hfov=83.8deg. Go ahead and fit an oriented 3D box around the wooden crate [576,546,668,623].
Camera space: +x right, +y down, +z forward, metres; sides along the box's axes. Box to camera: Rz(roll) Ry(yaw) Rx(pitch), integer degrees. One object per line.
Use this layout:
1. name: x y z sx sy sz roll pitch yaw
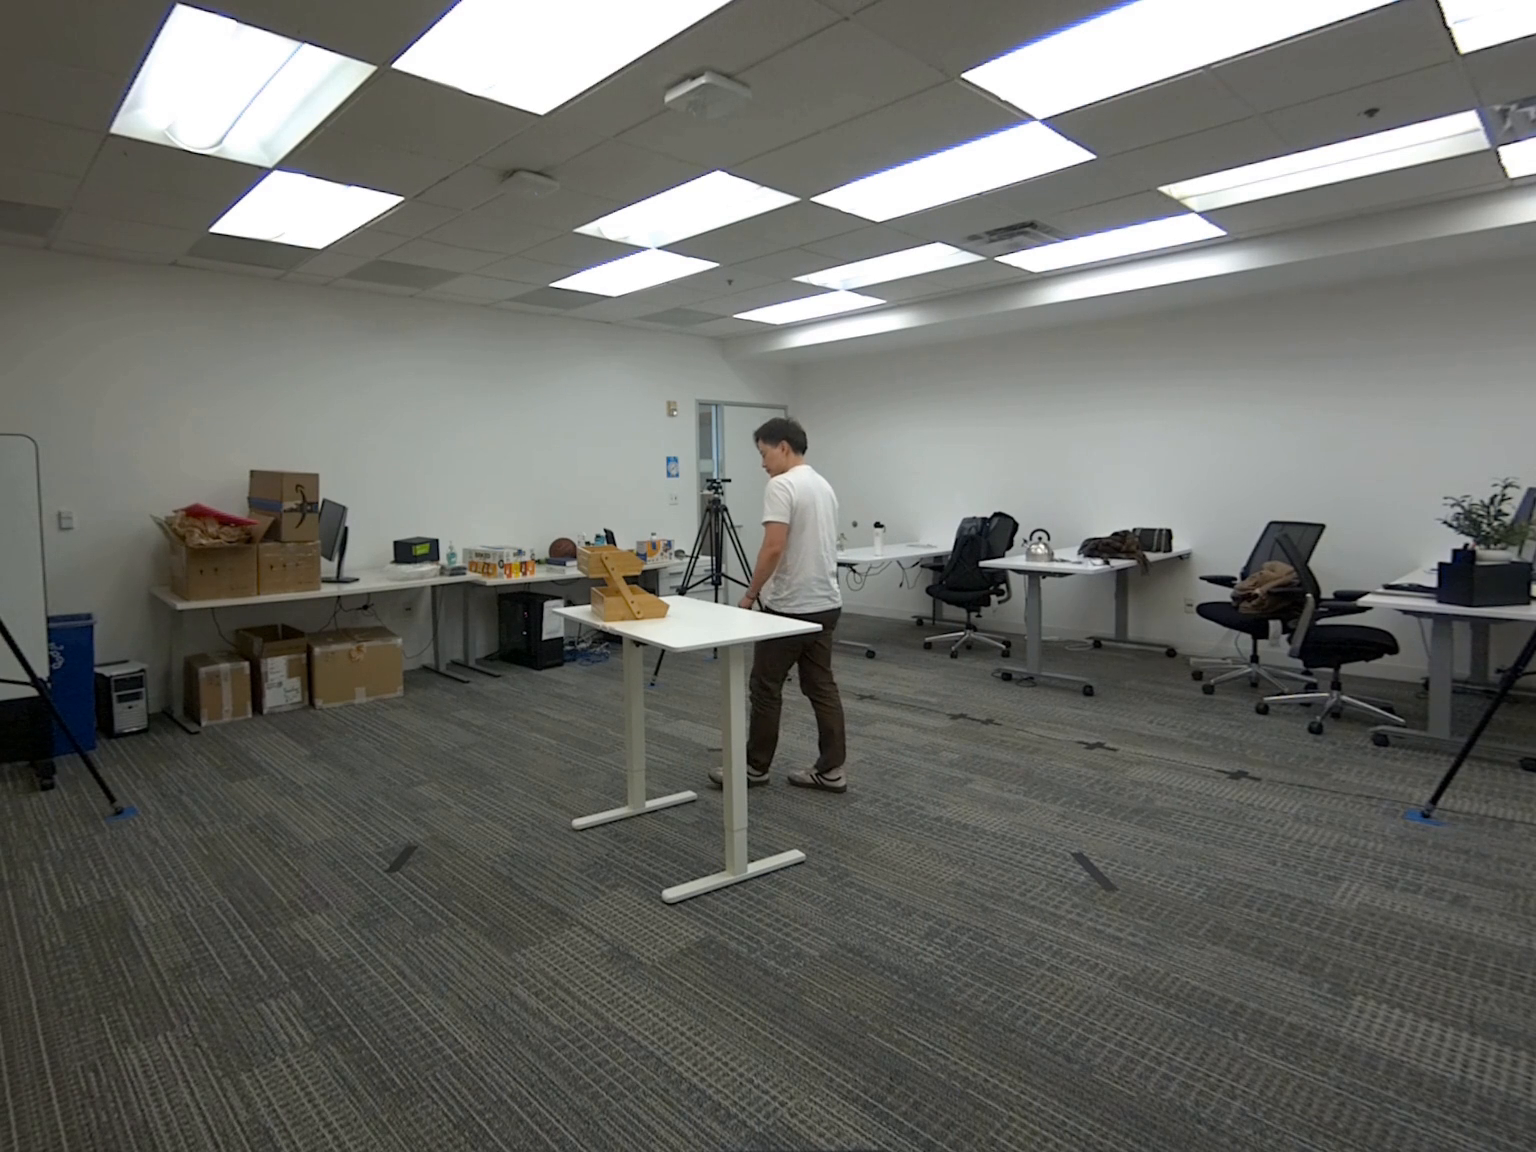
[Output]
1. wooden crate: -0.563 0.016 3.321 0.297 0.272 0.331 -4 6 -20
